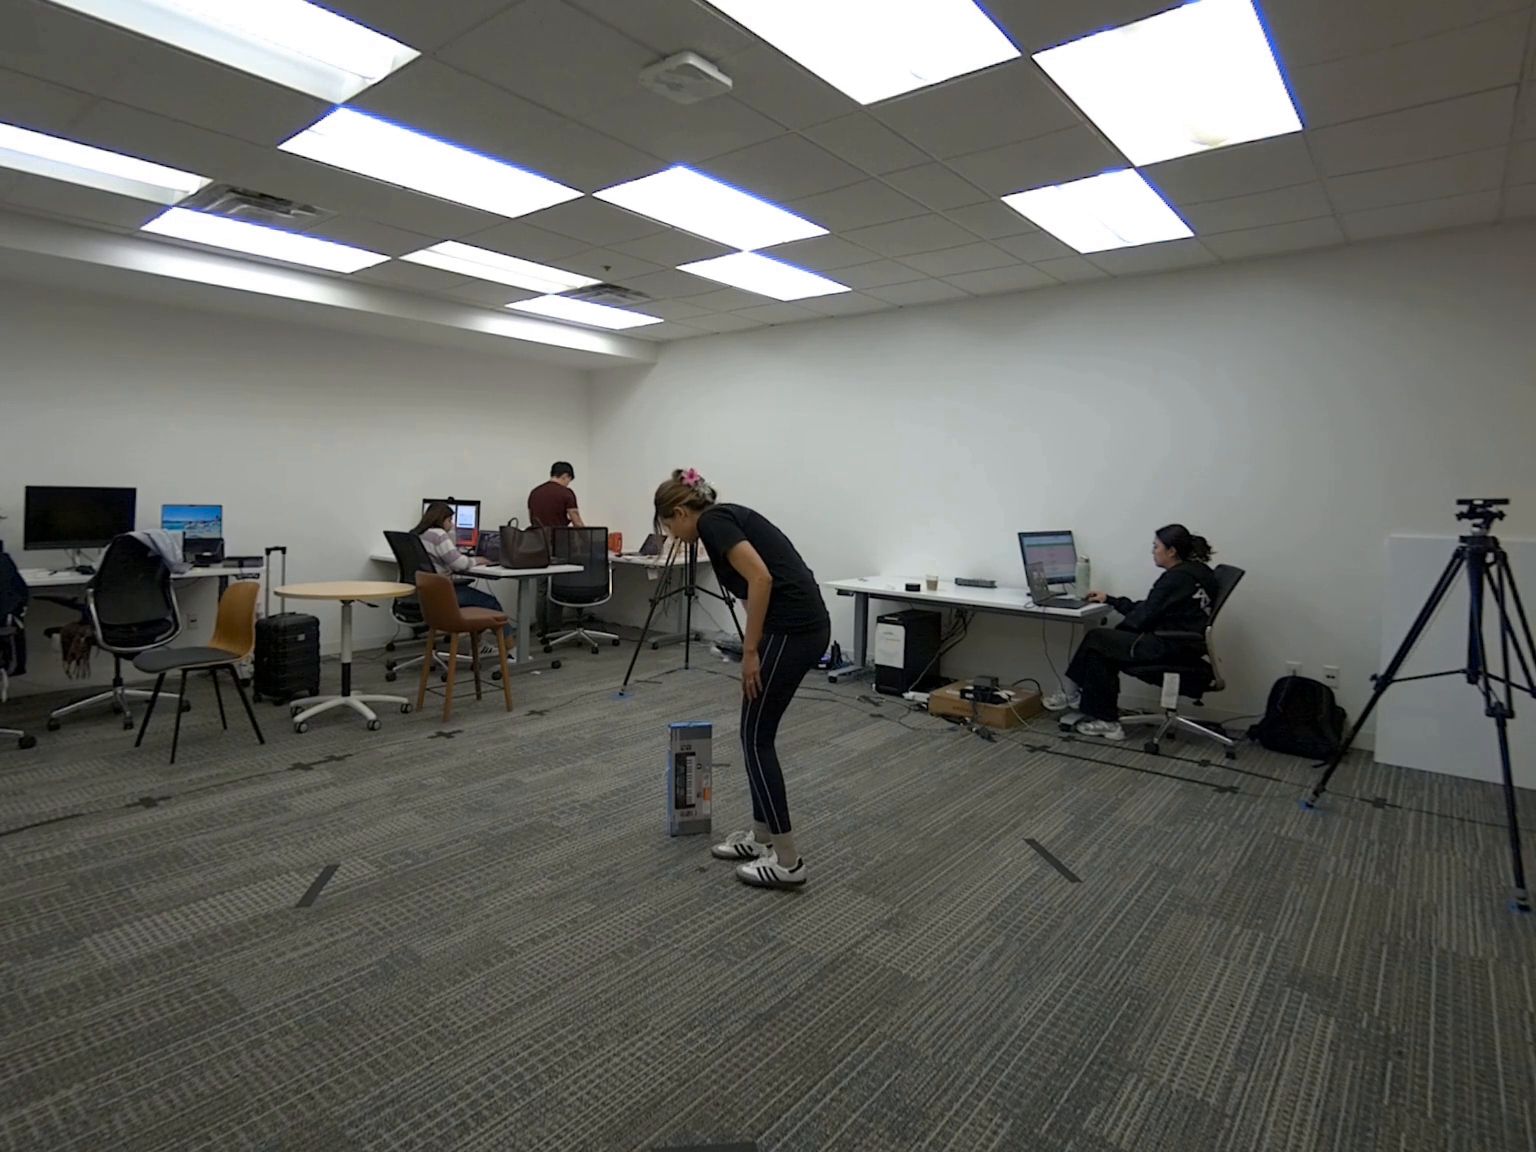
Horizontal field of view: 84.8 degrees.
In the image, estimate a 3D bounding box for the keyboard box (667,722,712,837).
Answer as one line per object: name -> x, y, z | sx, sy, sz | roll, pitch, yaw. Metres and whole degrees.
keyboard box -> -0.326, 0.817, 3.444 | 0.173, 0.437, 0.060 | 0, 0, -15
